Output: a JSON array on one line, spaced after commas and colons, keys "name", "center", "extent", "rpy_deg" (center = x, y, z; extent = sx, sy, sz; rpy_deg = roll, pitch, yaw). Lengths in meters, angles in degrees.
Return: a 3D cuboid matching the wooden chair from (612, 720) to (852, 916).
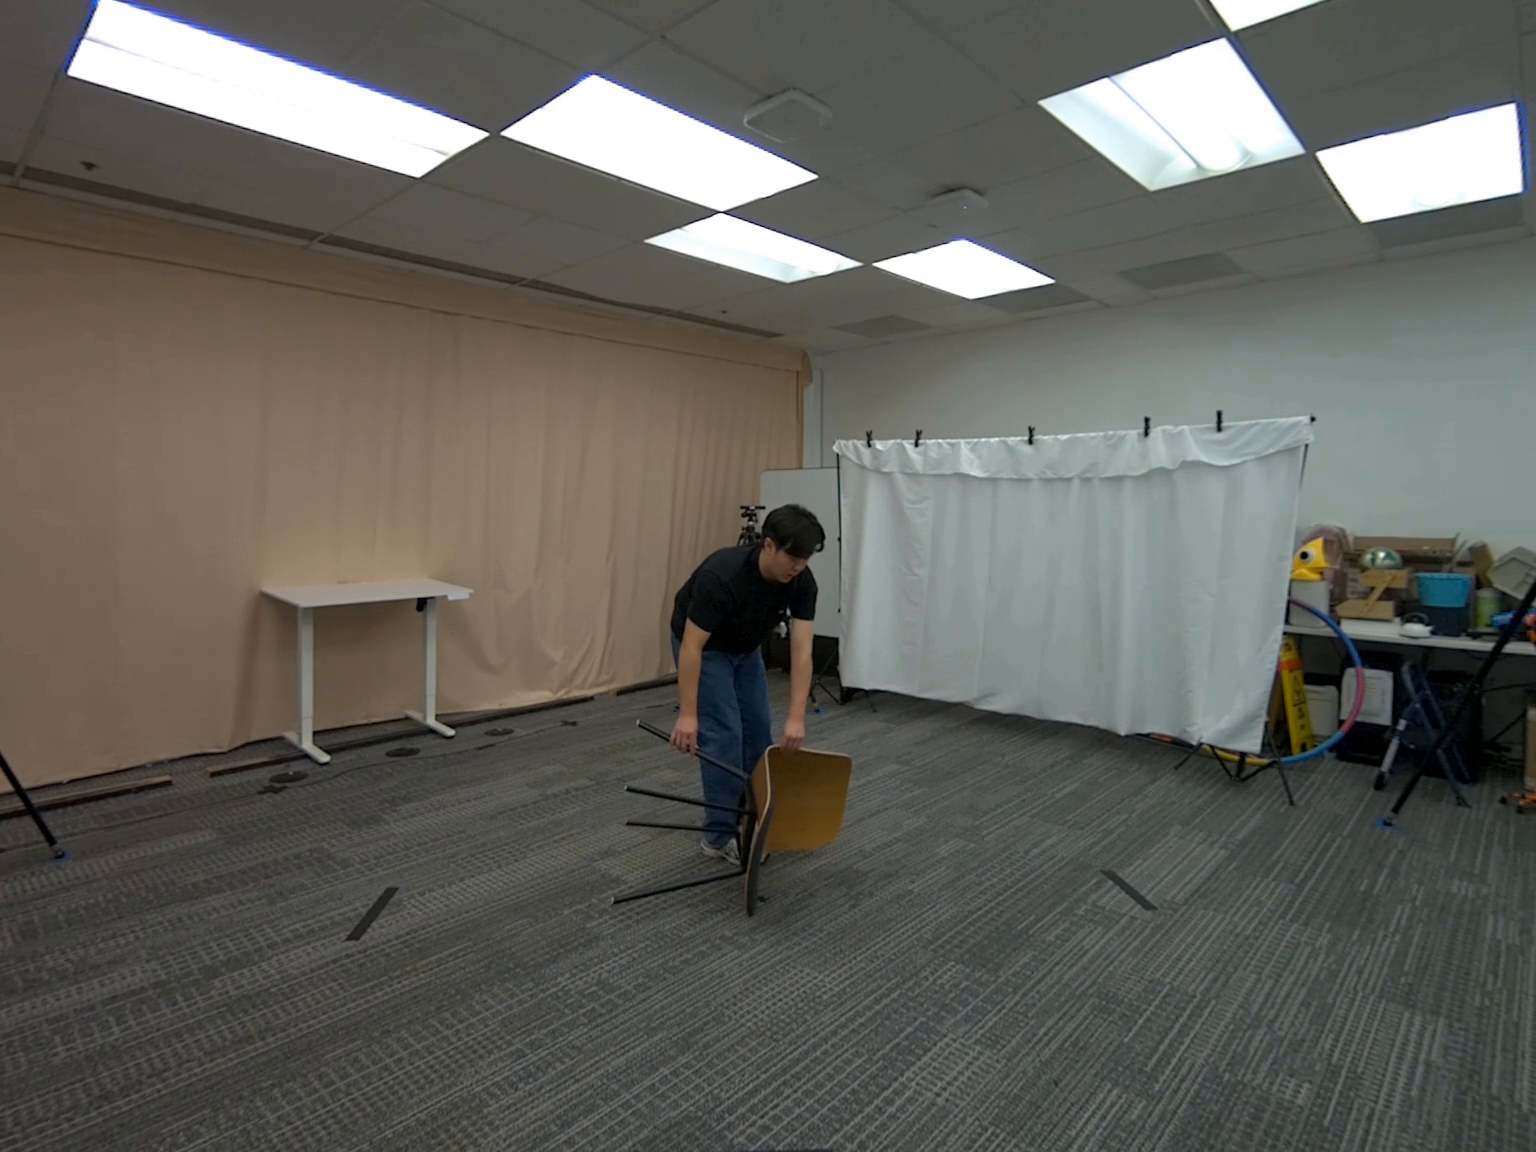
[{"name": "wooden chair", "center": [-0.074, 0.875, 3.002], "extent": [0.871, 0.474, 0.531], "rpy_deg": [7, 17, -7]}]
